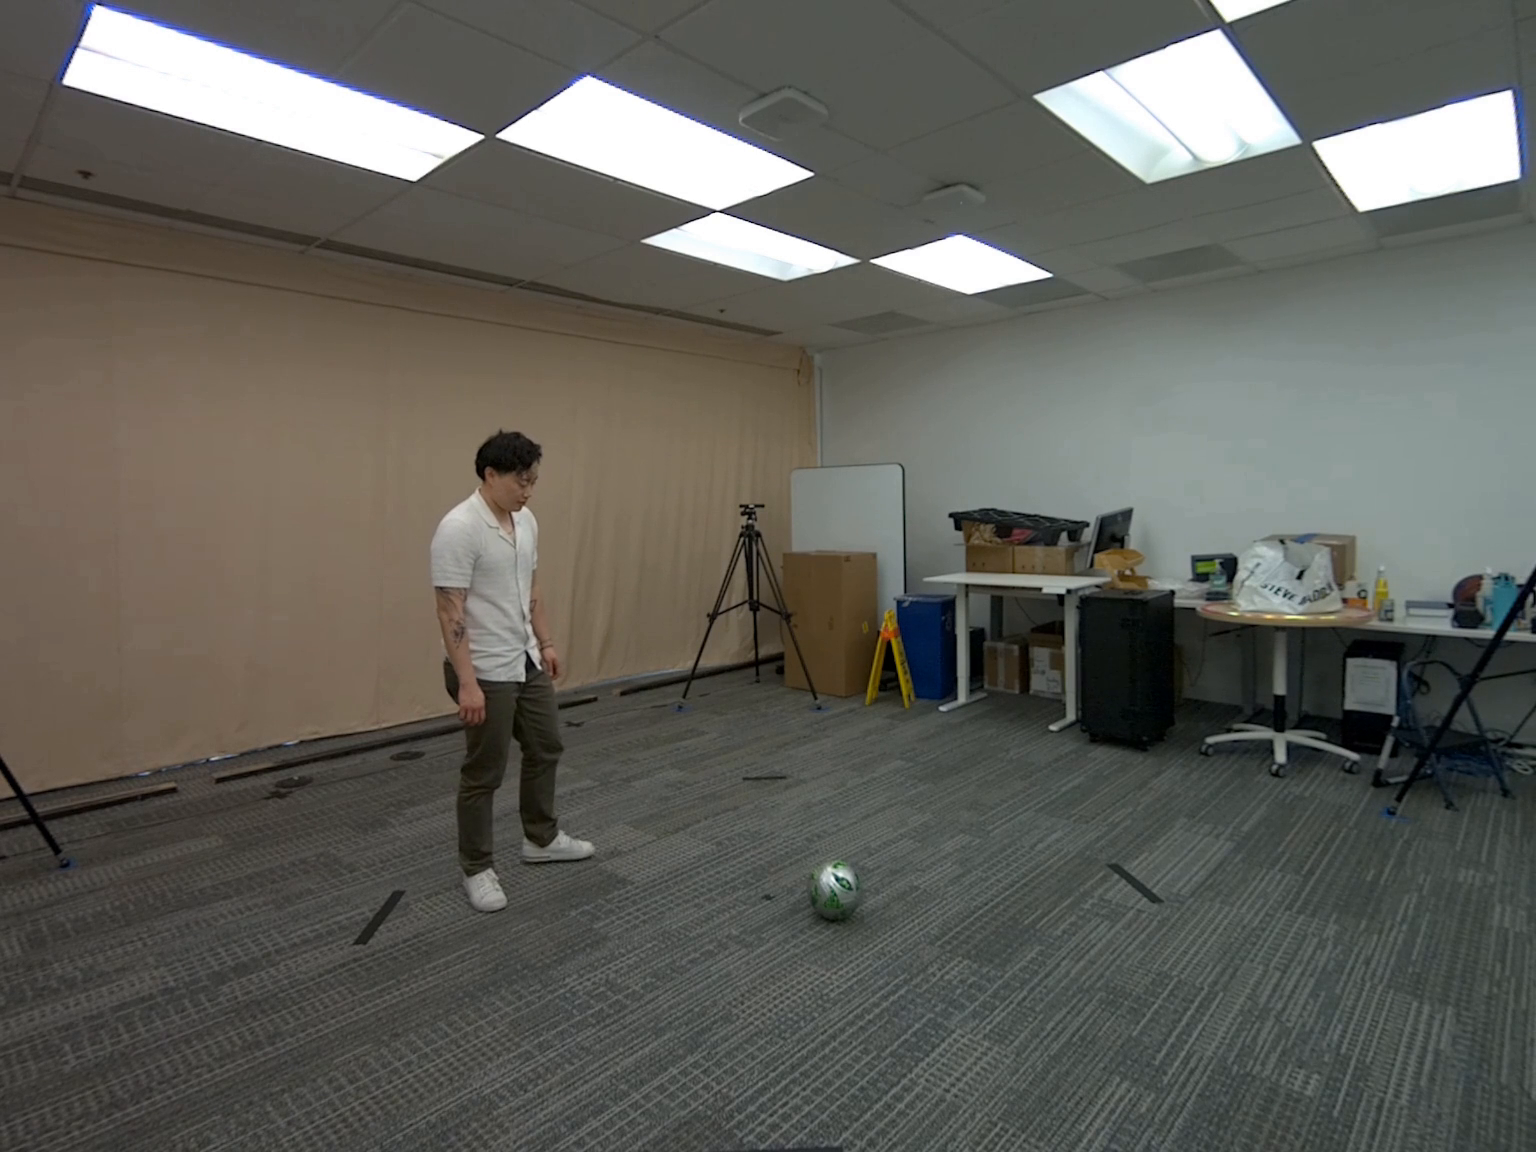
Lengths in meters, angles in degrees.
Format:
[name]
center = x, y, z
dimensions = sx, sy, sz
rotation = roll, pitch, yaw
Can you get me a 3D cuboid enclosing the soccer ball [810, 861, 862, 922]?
[soccer ball]
center = 0.229, 1.047, 2.835
dimensions = 0.187, 0.187, 0.188
rotation = -1, 4, -2
